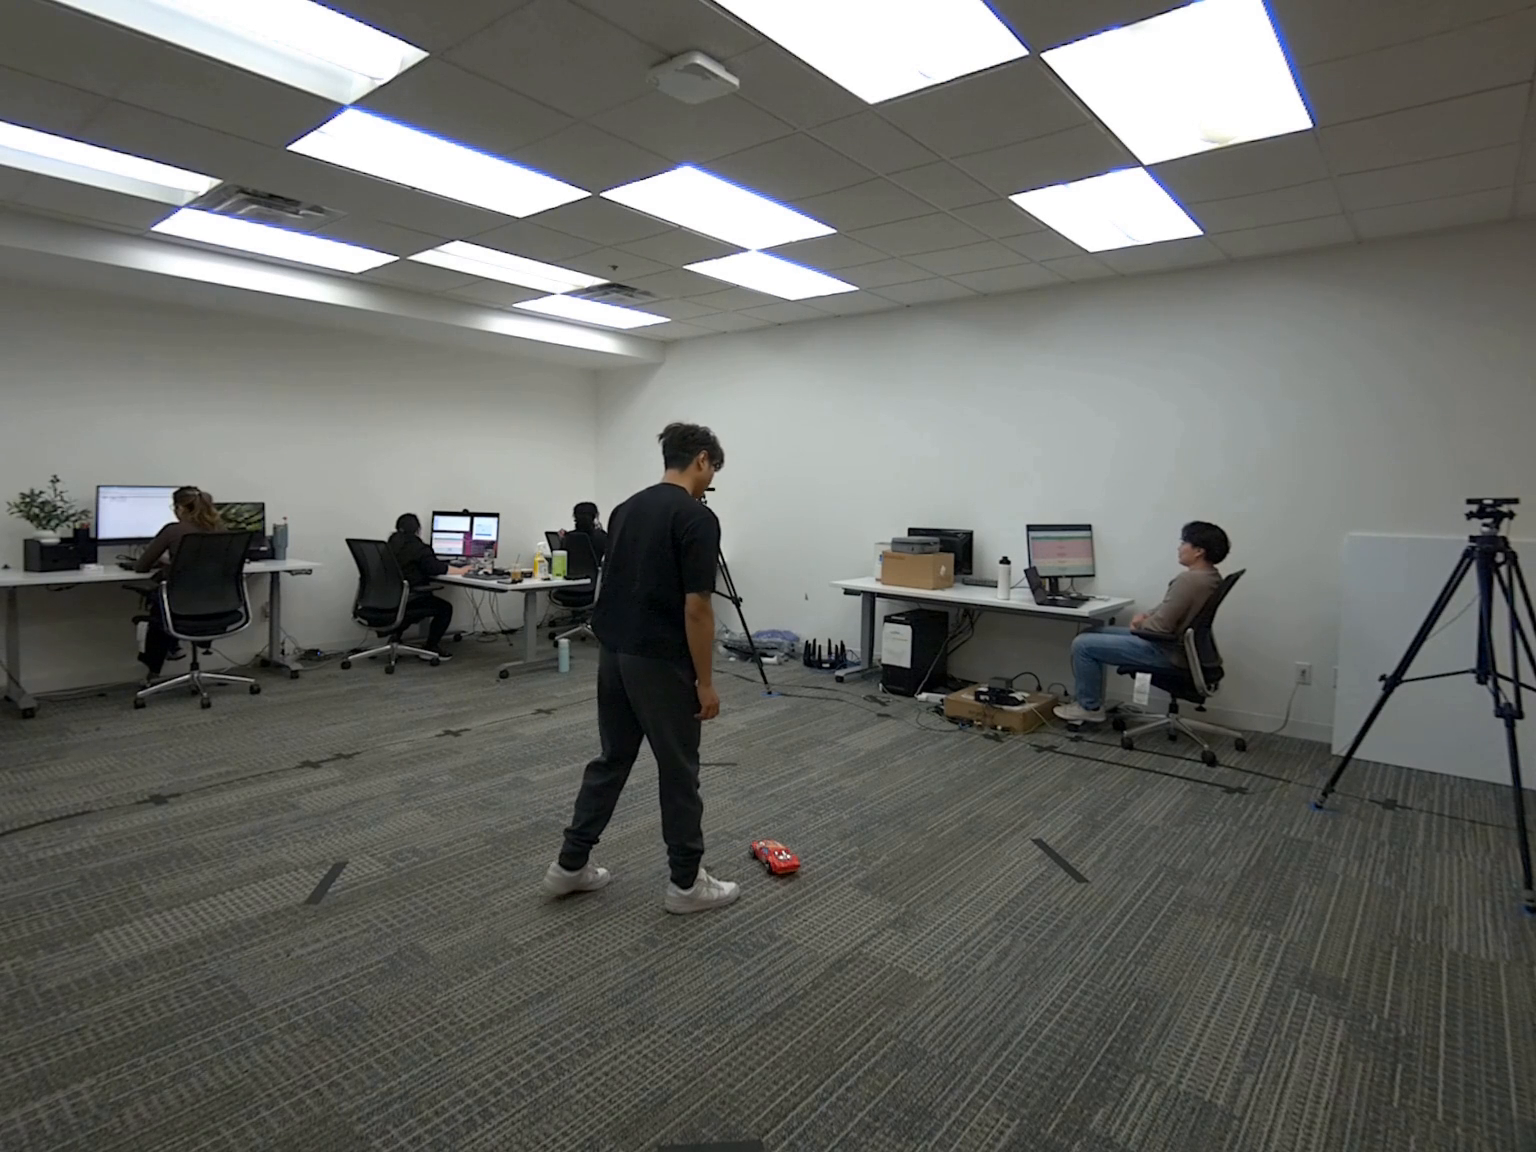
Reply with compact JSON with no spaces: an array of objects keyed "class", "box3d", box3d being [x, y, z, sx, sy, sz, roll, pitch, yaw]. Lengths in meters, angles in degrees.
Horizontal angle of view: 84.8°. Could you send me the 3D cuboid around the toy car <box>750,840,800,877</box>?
[{"class":"toy car","box3d":[0.021,1.040,3.140,0.127,0.084,0.259,0,-5,-24]}]
